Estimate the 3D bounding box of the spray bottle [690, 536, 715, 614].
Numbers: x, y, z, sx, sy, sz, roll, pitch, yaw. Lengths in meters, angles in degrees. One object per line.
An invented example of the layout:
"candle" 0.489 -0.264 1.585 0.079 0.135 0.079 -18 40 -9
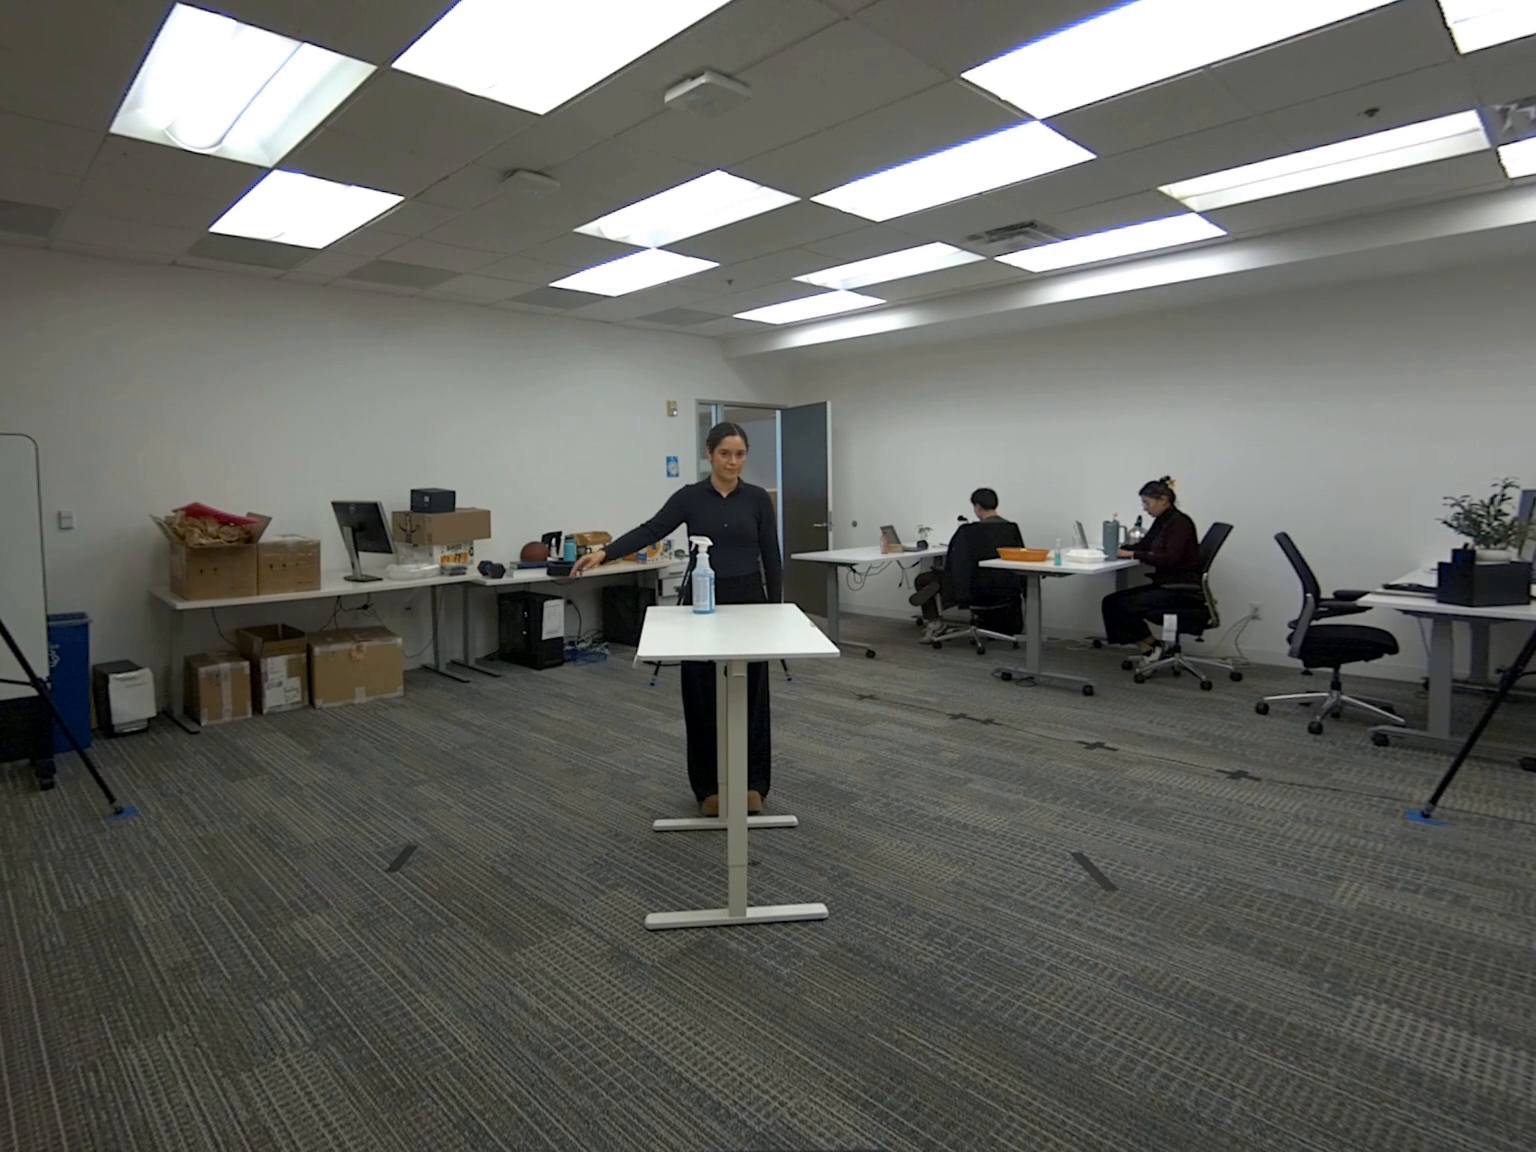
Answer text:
"spray bottle" -0.250 -0.001 3.325 0.085 0.297 0.093 -3 3 -43
